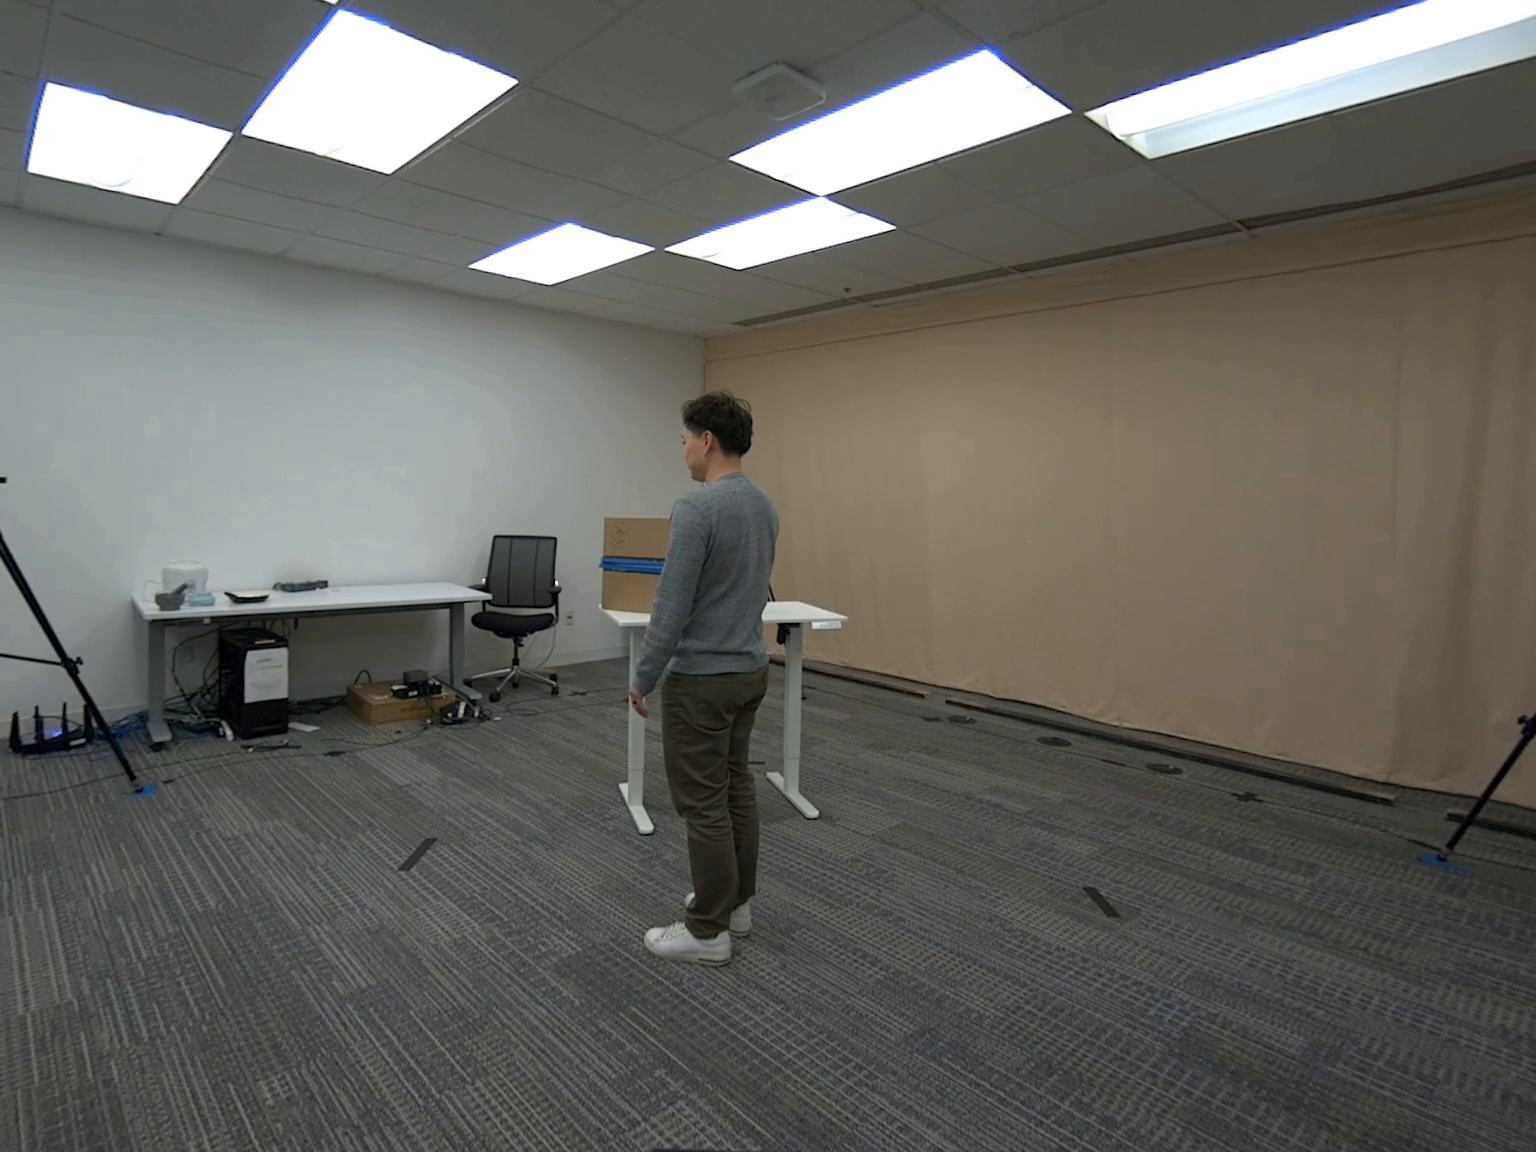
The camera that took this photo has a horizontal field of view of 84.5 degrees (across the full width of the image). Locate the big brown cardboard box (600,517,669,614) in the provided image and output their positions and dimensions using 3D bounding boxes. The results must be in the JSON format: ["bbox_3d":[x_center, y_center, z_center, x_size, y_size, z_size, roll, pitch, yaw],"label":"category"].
[{"bbox_3d":[-0.441,-0.046,3.730,0.600,0.417,0.229,3,2,23],"label":"big brown cardboard box"}]
